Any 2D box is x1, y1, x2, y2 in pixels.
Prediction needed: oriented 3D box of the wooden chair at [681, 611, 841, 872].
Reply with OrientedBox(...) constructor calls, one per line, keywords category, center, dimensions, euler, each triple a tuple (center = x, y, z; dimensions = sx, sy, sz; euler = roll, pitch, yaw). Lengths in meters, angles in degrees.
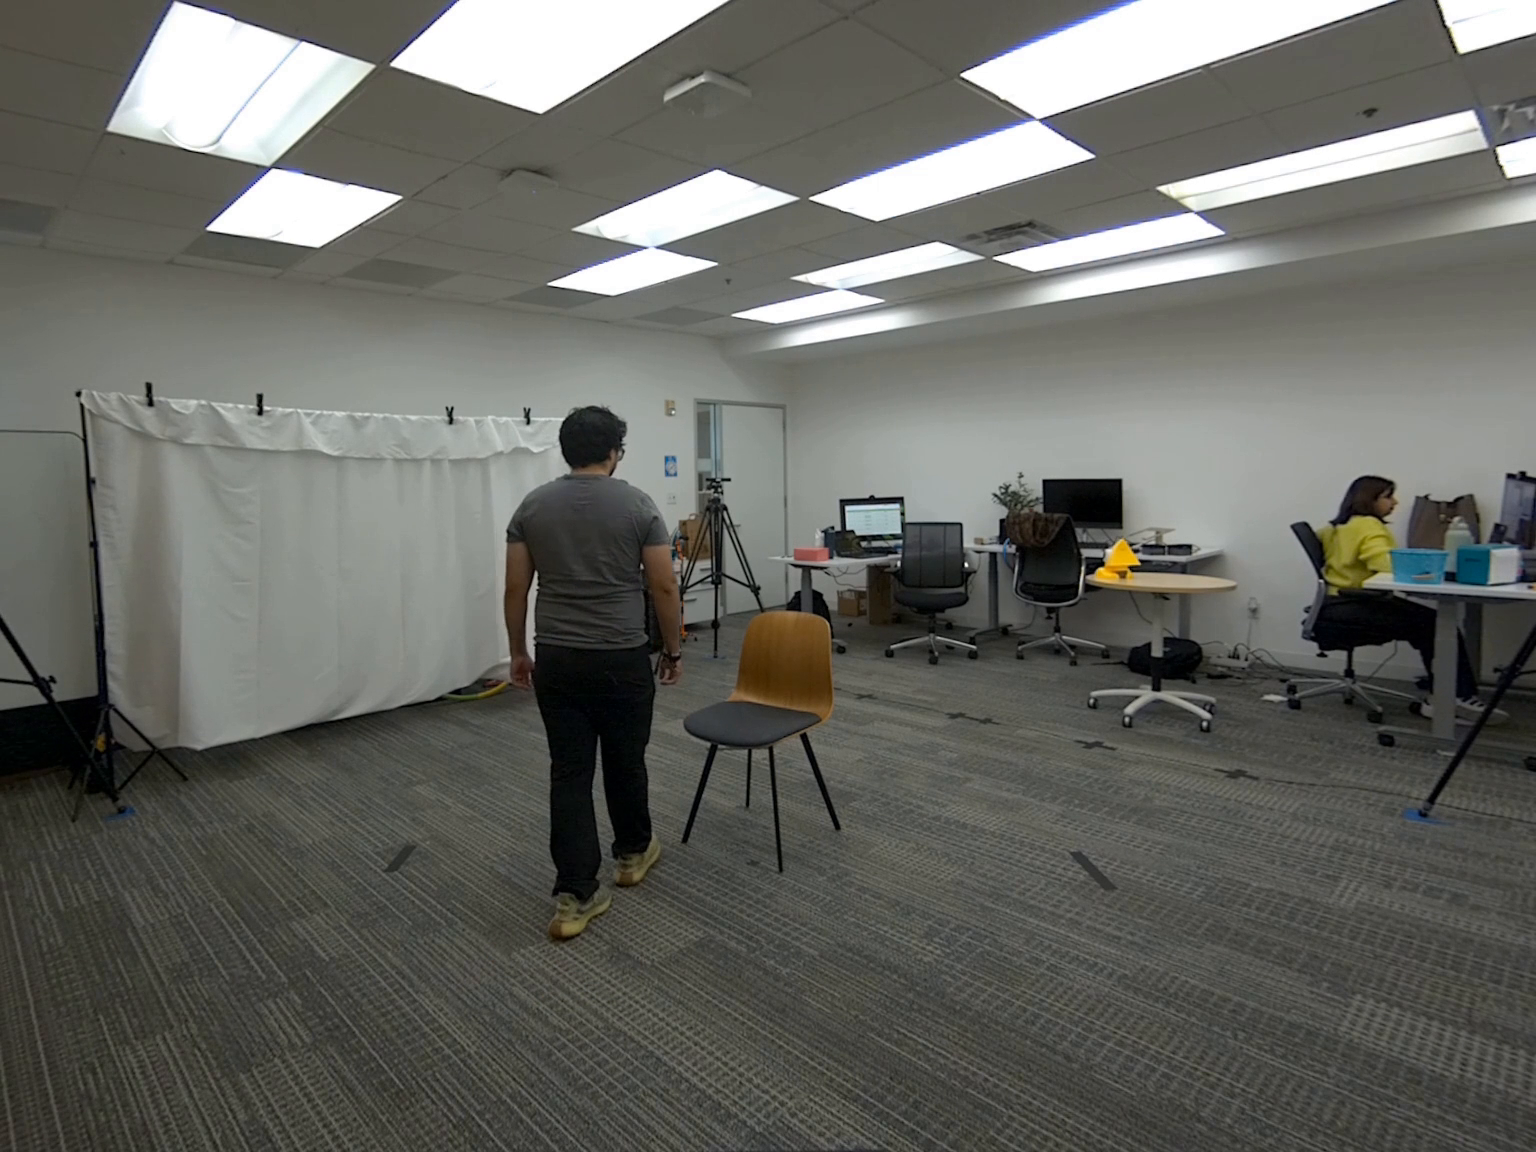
OrientedBox(category="wooden chair", center=(-0.029, 0.592, 3.293), dimensions=(0.492, 0.877, 0.509), euler=(2, 1, 34))
